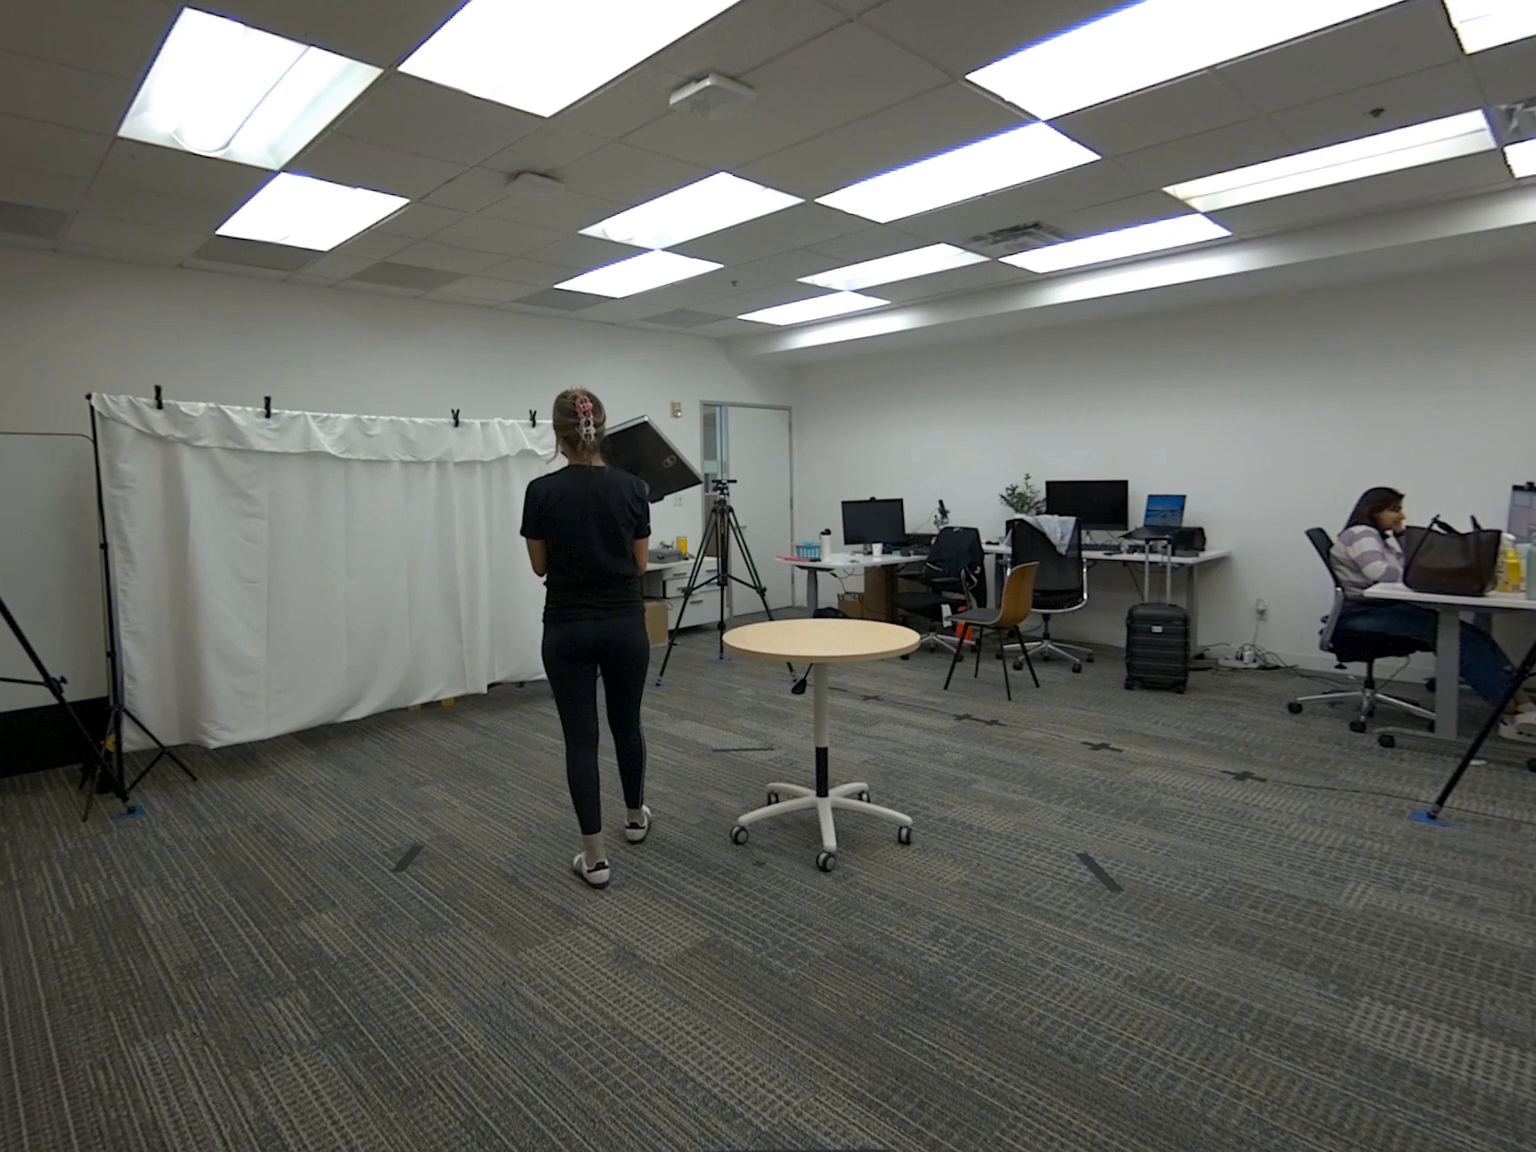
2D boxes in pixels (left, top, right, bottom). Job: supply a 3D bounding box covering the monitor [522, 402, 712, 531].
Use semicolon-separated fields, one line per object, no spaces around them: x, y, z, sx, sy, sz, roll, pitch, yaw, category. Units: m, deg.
-0.582;-0.359;3.376;0.524;0.192;0.522;-30;-23;9;monitor
